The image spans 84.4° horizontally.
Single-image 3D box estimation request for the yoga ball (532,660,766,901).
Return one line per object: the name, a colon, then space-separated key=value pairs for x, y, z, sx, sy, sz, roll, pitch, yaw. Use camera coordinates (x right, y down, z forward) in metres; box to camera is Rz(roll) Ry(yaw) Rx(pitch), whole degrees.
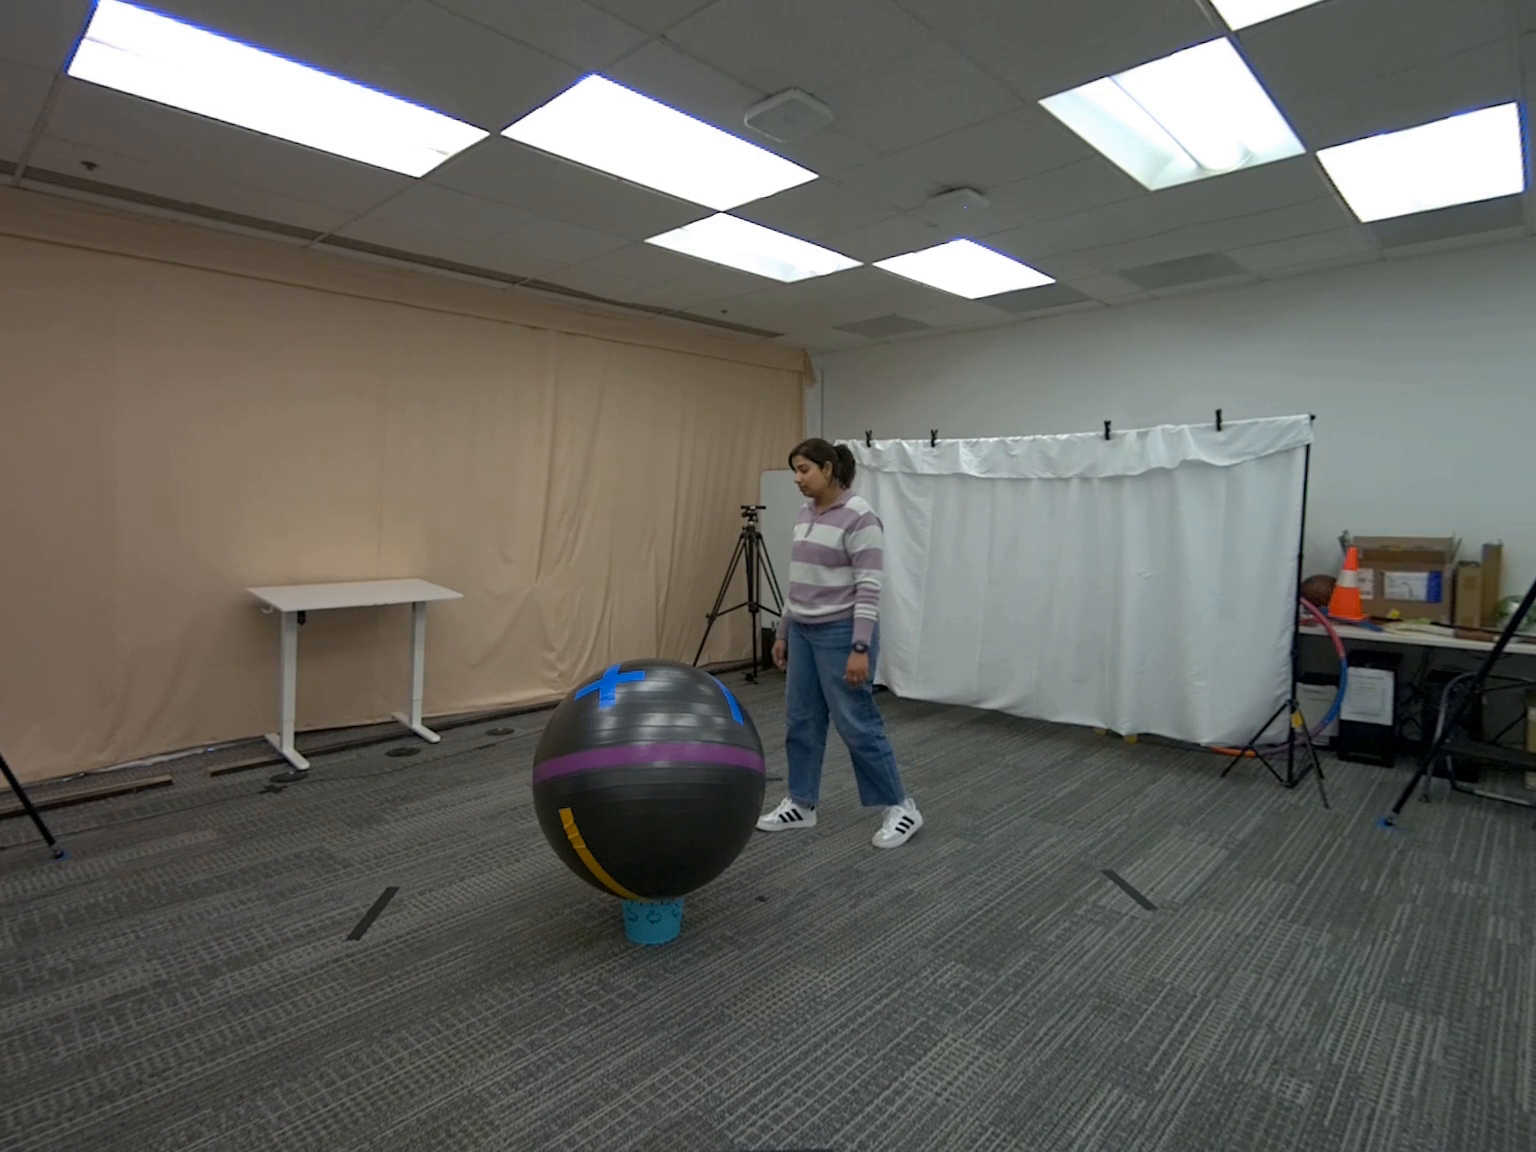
yoga ball: x=-0.392 y=0.657 z=2.758 sx=0.757 sy=0.756 sz=0.760 roll=0 pitch=4 yaw=-2
